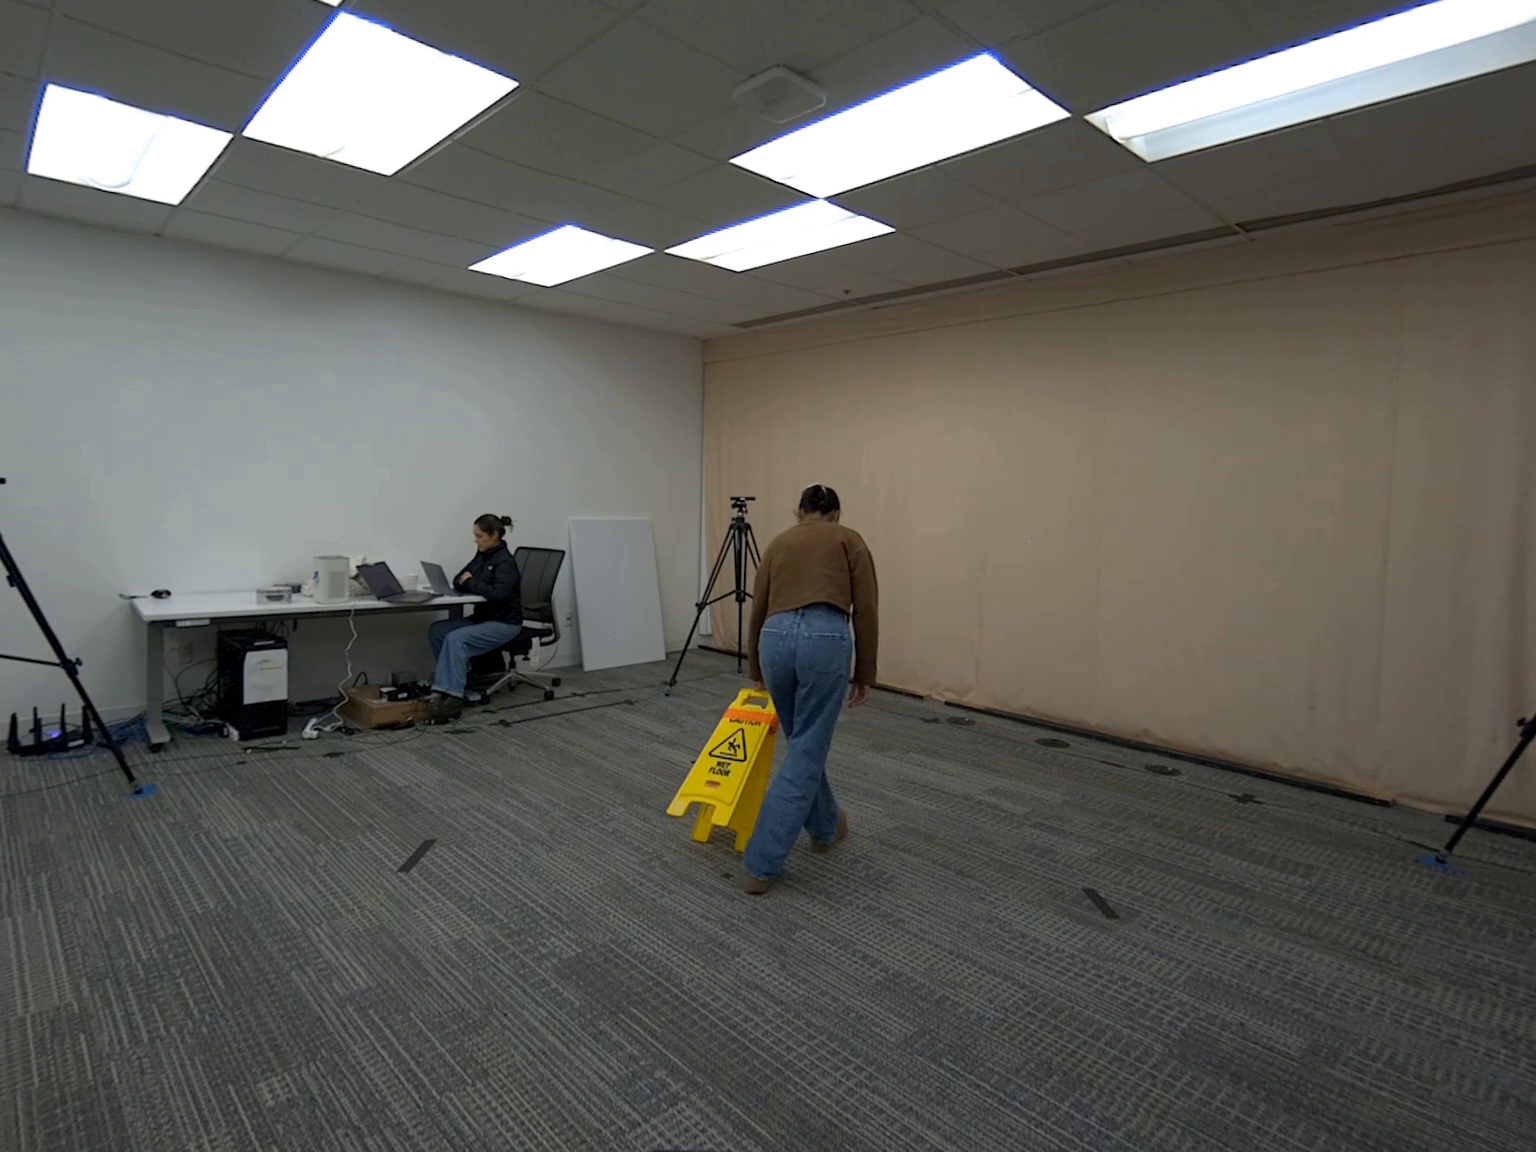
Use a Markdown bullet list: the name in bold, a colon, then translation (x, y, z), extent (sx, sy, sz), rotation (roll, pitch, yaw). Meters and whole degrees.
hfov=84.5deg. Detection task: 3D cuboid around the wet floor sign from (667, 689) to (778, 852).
- **wet floor sign**: translation (-0.134, 0.756, 3.457), extent (0.288, 0.652, 0.281), rotation (3, -38, 29)
